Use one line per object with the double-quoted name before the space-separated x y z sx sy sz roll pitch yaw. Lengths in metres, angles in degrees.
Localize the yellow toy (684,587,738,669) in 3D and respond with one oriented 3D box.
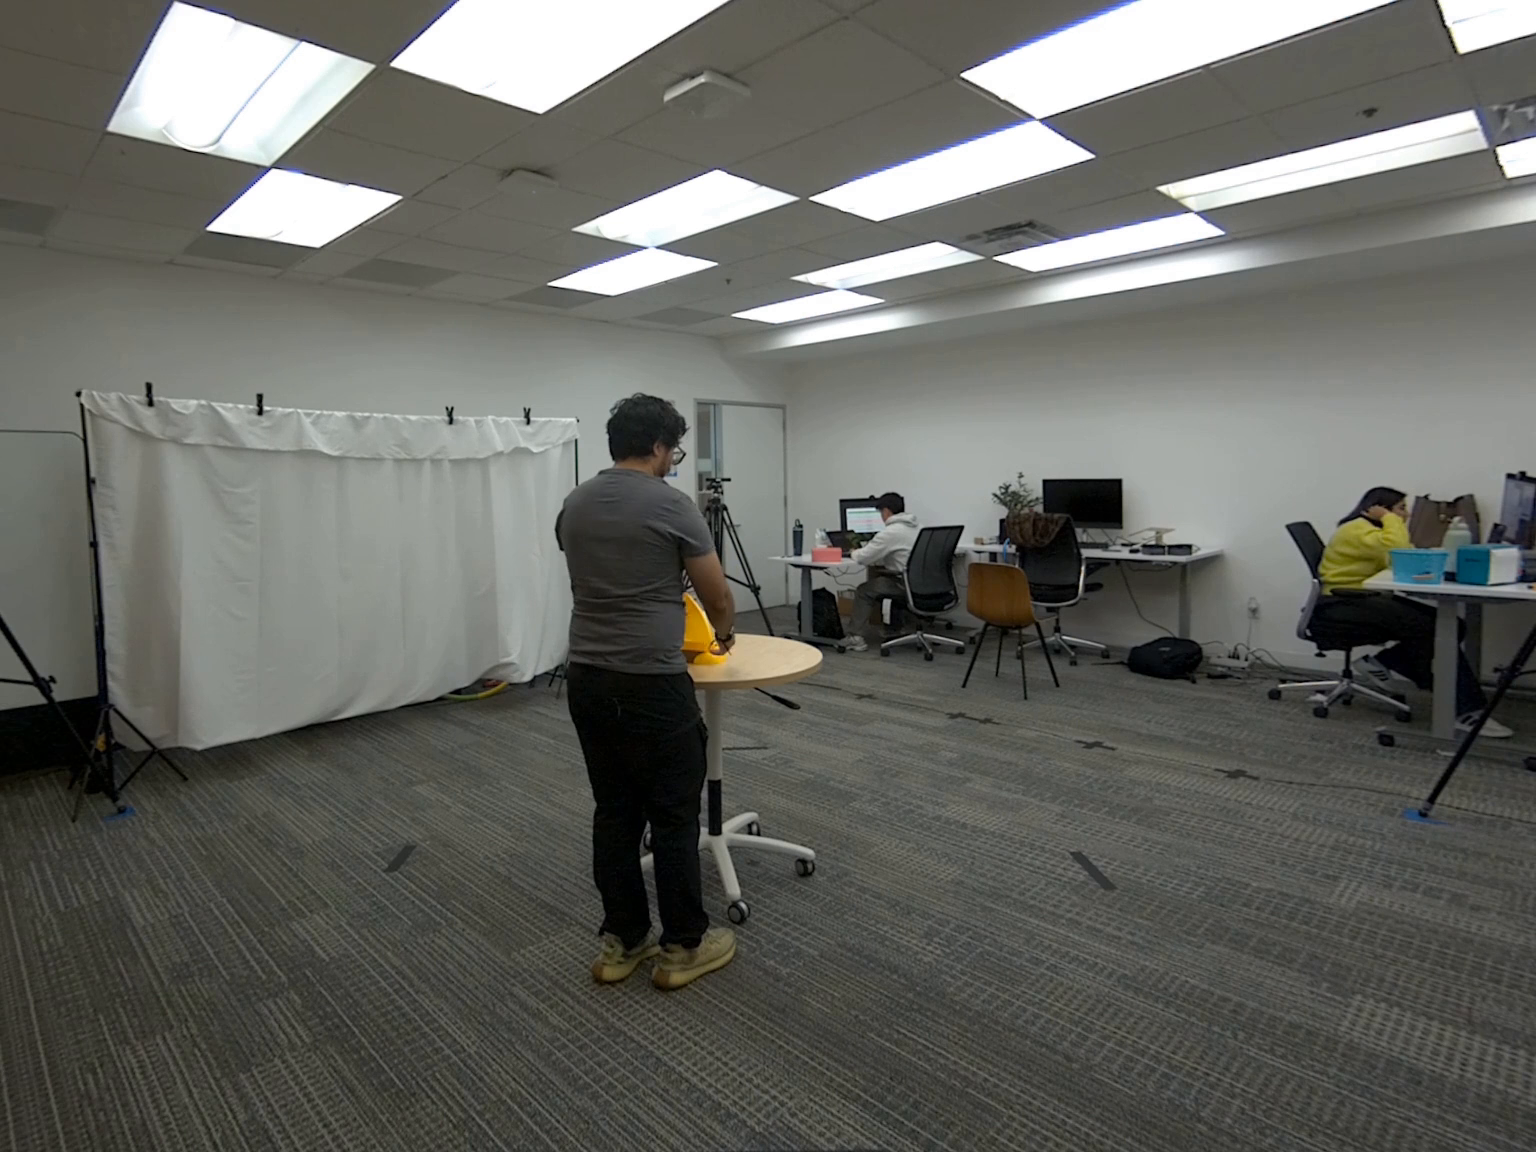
"yellow toy" -0.236 0.171 2.912 0.209 0.230 0.190 2 6 22
